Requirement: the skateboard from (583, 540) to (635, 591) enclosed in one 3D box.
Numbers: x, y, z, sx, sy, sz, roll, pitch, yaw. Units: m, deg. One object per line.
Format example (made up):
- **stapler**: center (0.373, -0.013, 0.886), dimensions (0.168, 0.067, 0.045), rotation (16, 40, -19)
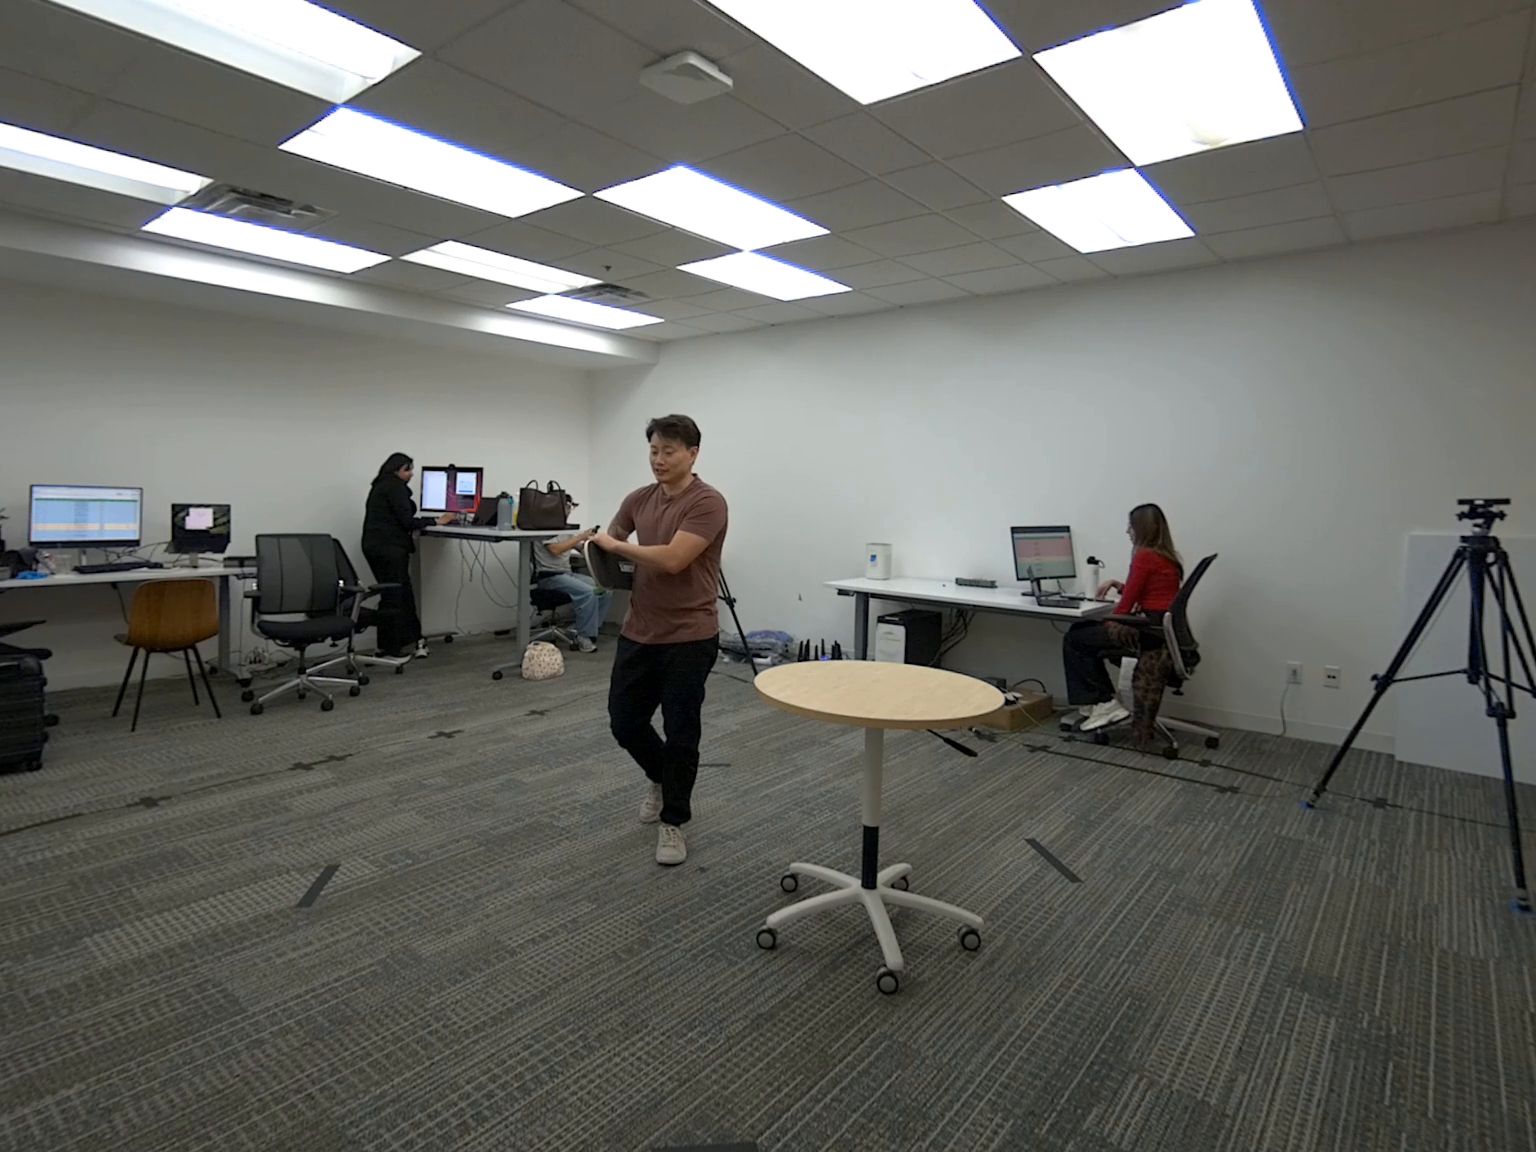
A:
- **skateboard**: center (-0.600, -0.026, 3.398), dimensions (0.111, 0.195, 0.769), rotation (-20, -7, 13)
